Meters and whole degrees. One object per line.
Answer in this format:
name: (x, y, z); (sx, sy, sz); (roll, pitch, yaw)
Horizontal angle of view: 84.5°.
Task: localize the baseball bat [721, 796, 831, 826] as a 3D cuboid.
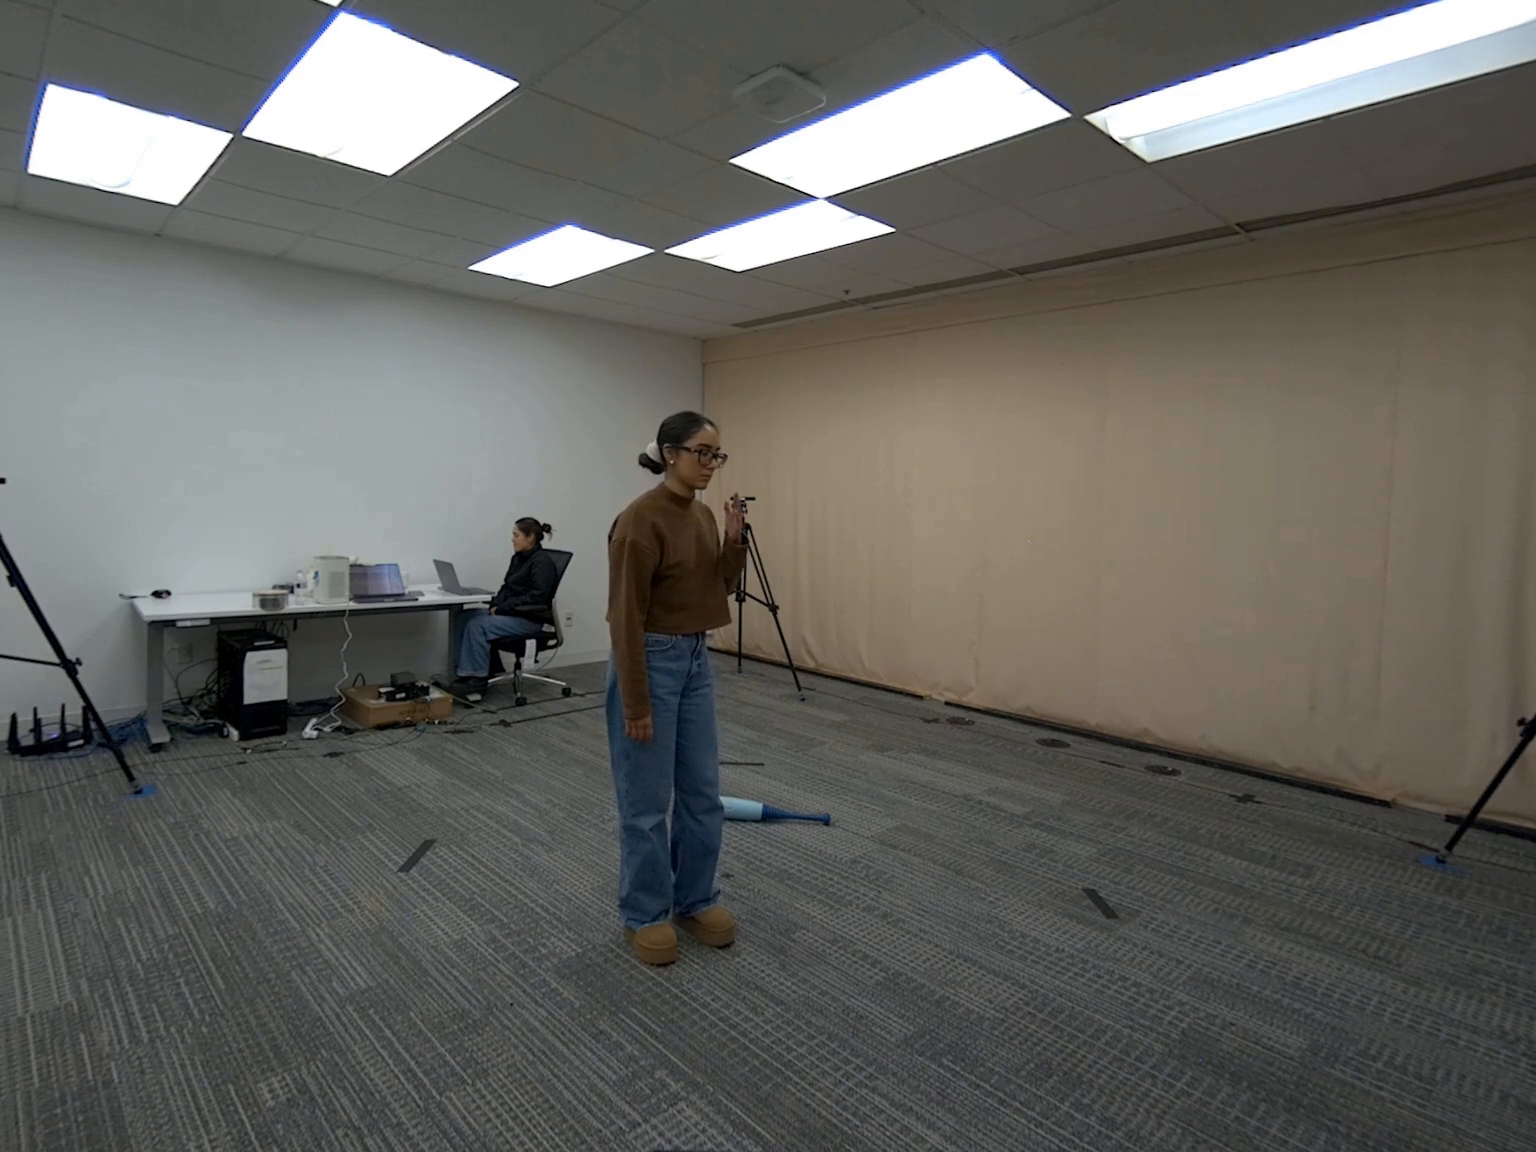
baseball bat: (-0.009, 1.030, 3.650); (0.546, 0.089, 0.089); (5, 4, 6)
